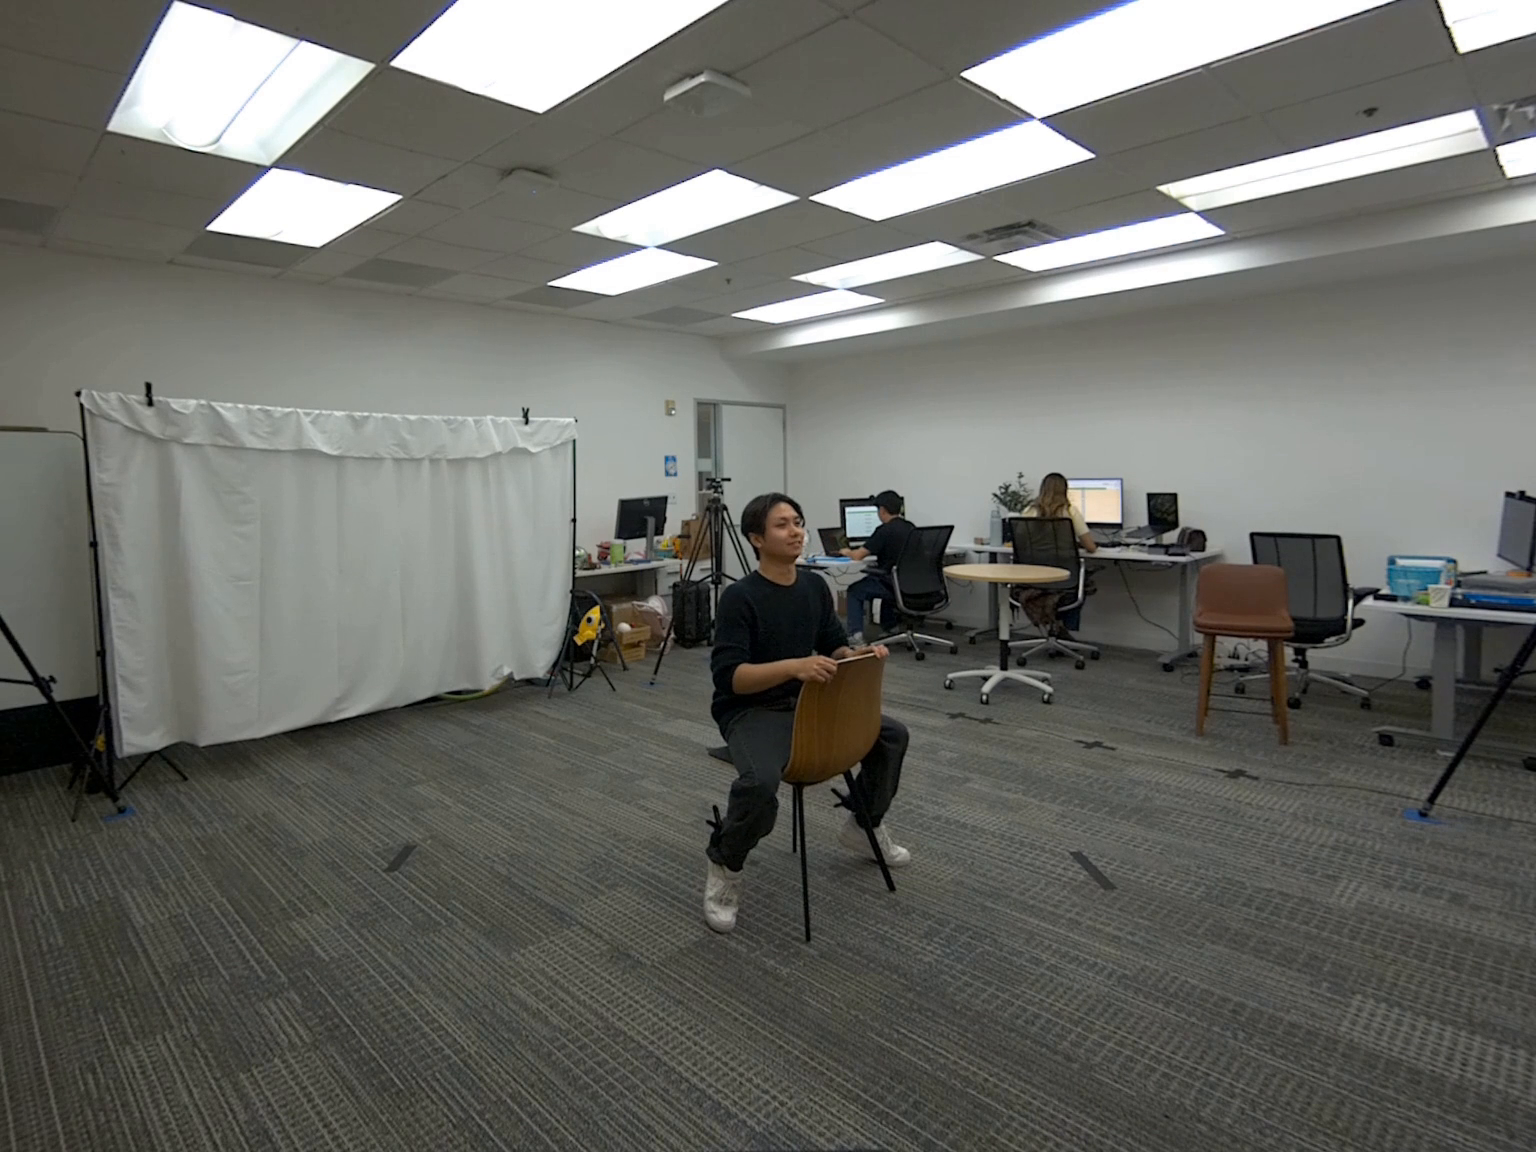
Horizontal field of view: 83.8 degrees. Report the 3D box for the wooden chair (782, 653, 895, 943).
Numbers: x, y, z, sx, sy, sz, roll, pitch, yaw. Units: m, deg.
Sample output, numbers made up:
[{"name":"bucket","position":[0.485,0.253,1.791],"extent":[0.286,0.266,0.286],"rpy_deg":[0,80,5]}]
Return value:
[{"name":"wooden chair","position":[0.094,0.641,2.857],"extent":[0.540,0.872,0.465],"rpy_deg":[8,9,44]}]
